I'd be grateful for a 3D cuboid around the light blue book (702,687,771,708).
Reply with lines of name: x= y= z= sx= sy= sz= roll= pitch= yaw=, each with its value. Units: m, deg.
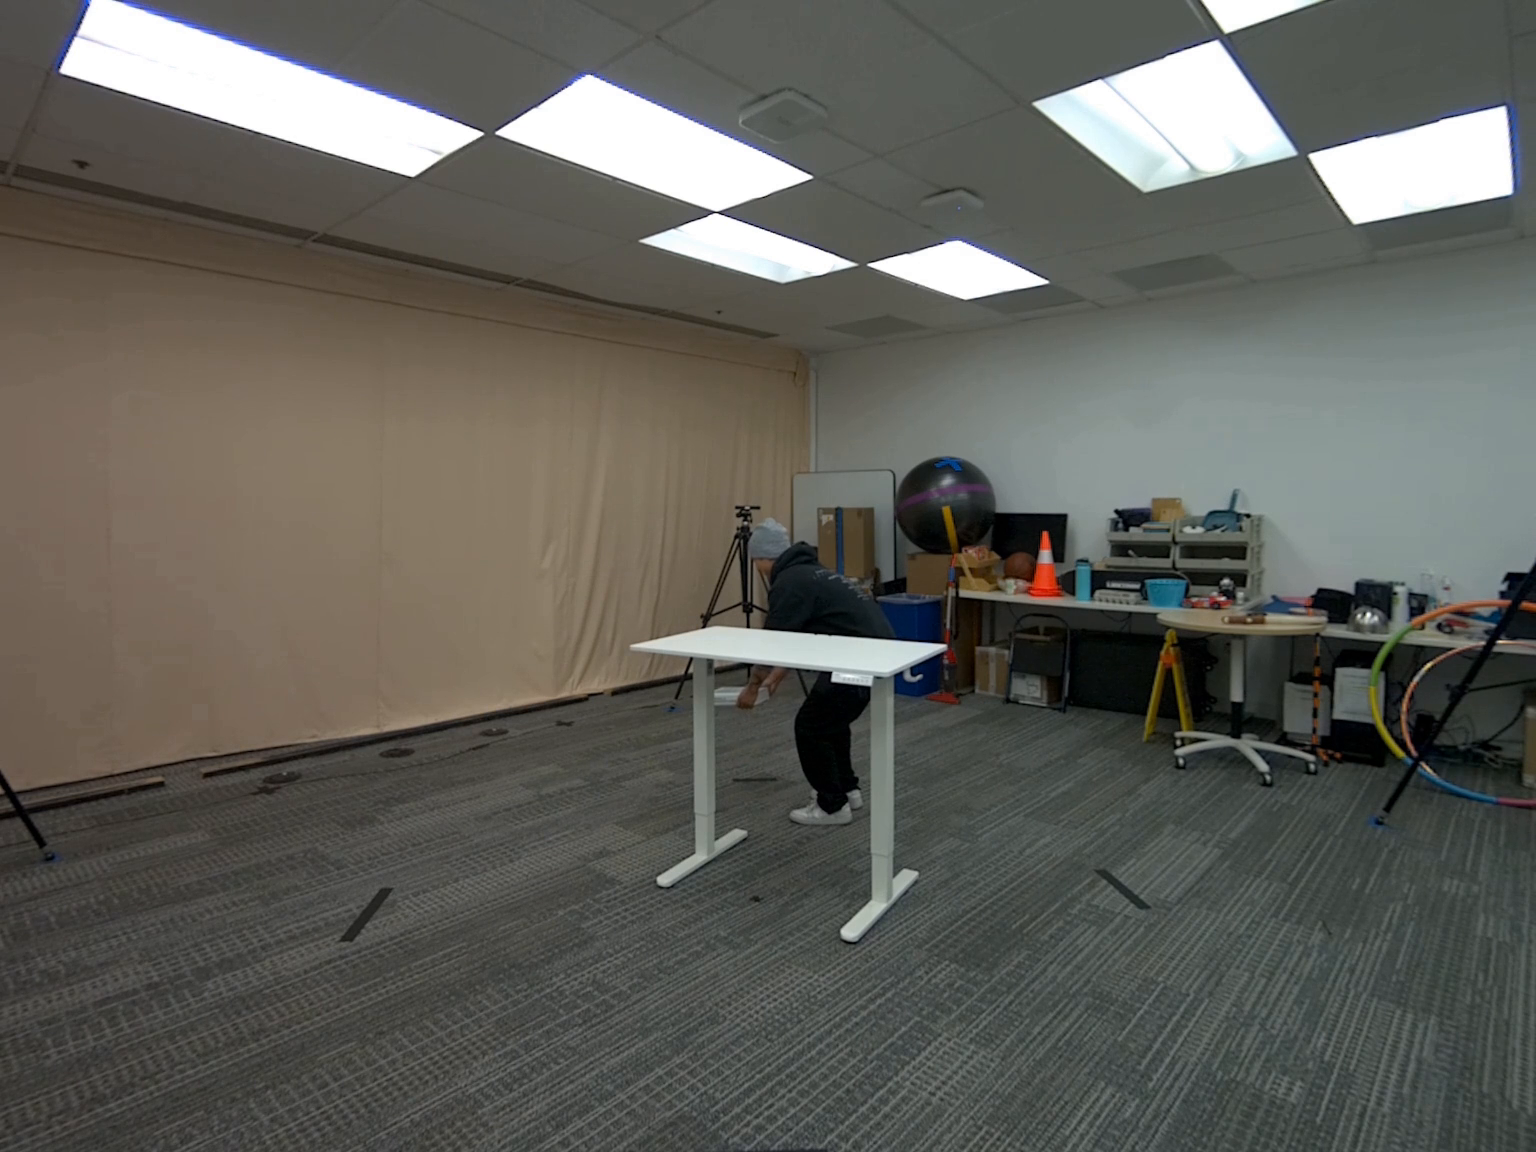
light blue book: x=-0.152 y=0.579 z=4.068 sx=0.268 sy=0.059 sz=0.186 roll=-4 pitch=2 yaw=27
